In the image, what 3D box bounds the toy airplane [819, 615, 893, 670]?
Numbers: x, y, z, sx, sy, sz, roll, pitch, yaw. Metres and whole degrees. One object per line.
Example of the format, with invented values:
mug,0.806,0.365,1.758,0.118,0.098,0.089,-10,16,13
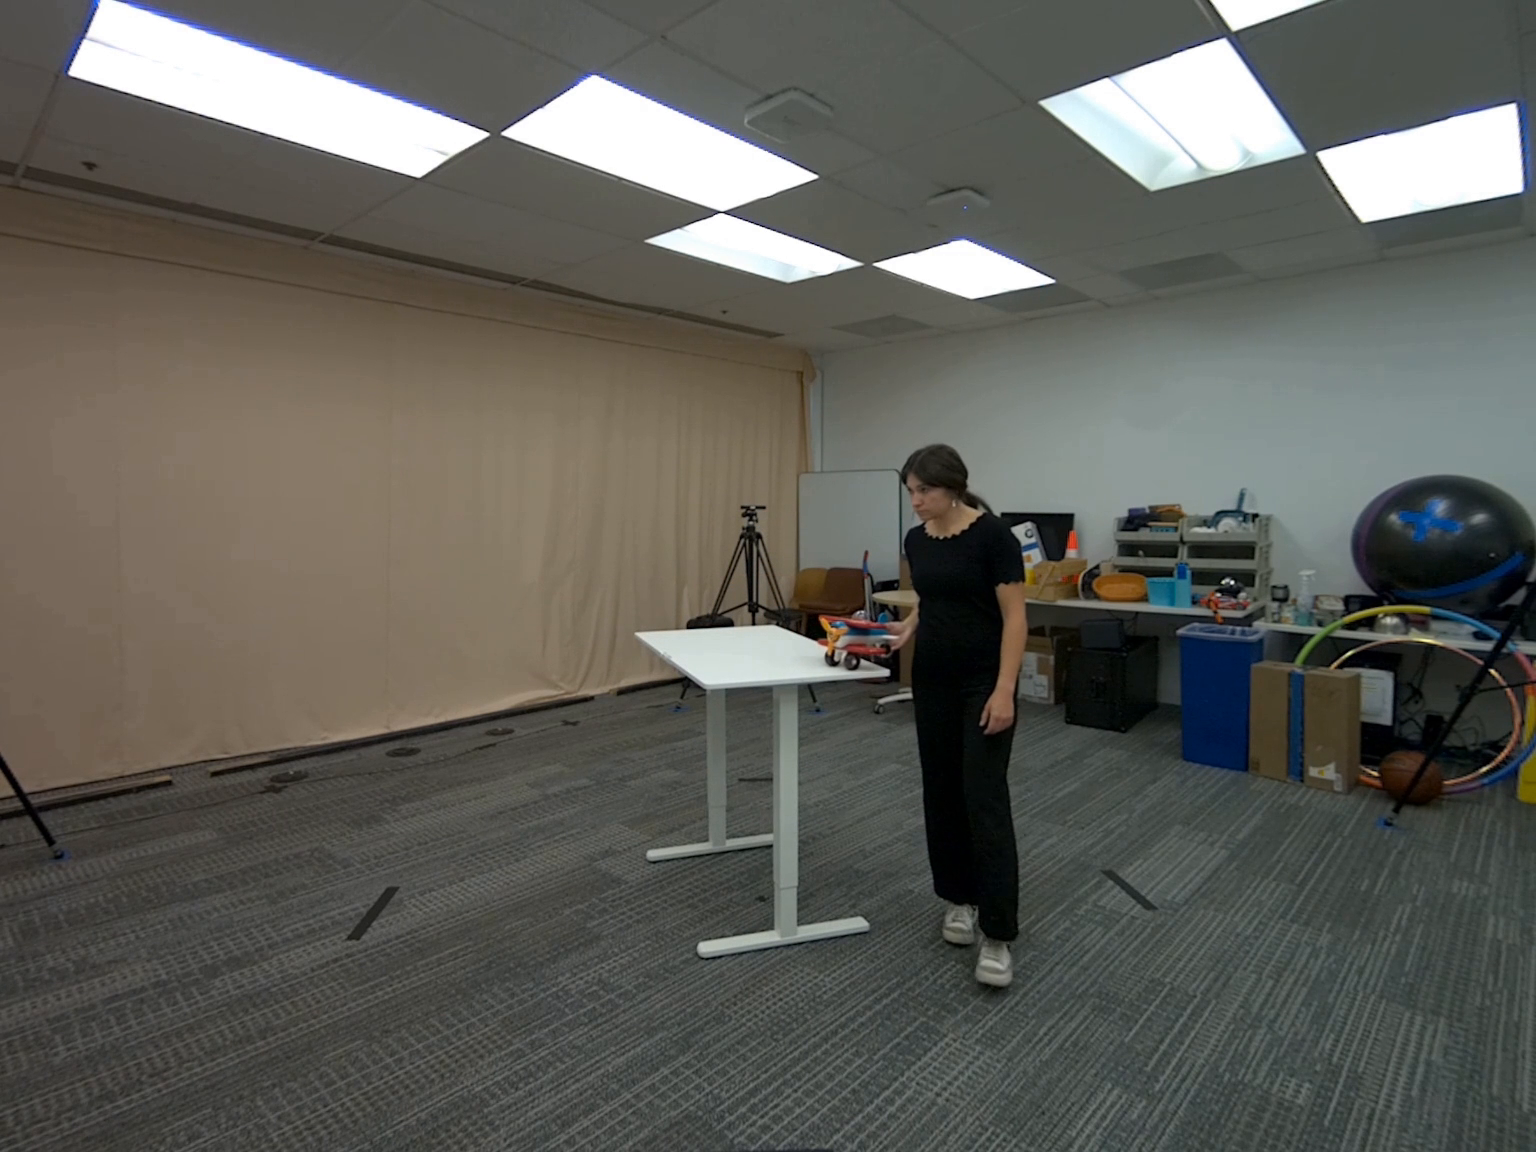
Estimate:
toy airplane,0.286,0.200,2.704,0.257,0.155,0.255,0,13,24
